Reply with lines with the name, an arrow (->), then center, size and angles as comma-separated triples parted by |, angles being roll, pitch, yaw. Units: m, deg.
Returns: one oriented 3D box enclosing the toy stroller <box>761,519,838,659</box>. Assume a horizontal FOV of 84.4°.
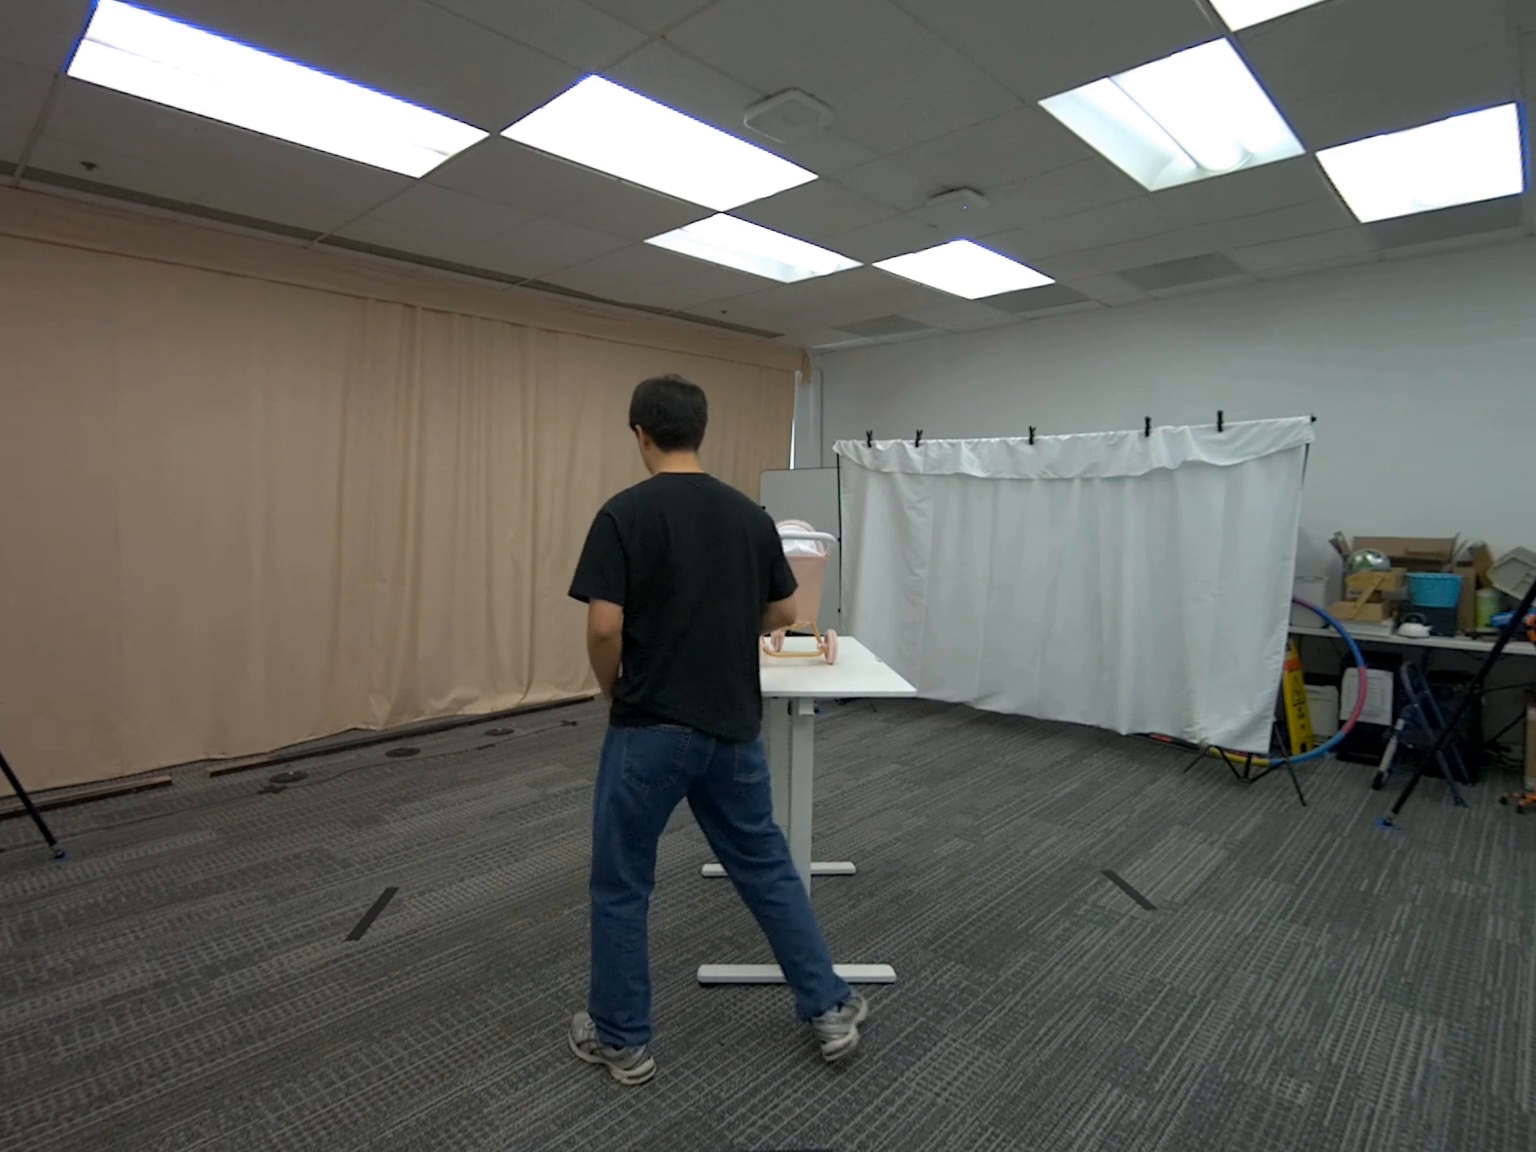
toy stroller -> 0.077, 0.058, 2.743 | 0.280, 0.529, 0.347 | 1, 19, -6
